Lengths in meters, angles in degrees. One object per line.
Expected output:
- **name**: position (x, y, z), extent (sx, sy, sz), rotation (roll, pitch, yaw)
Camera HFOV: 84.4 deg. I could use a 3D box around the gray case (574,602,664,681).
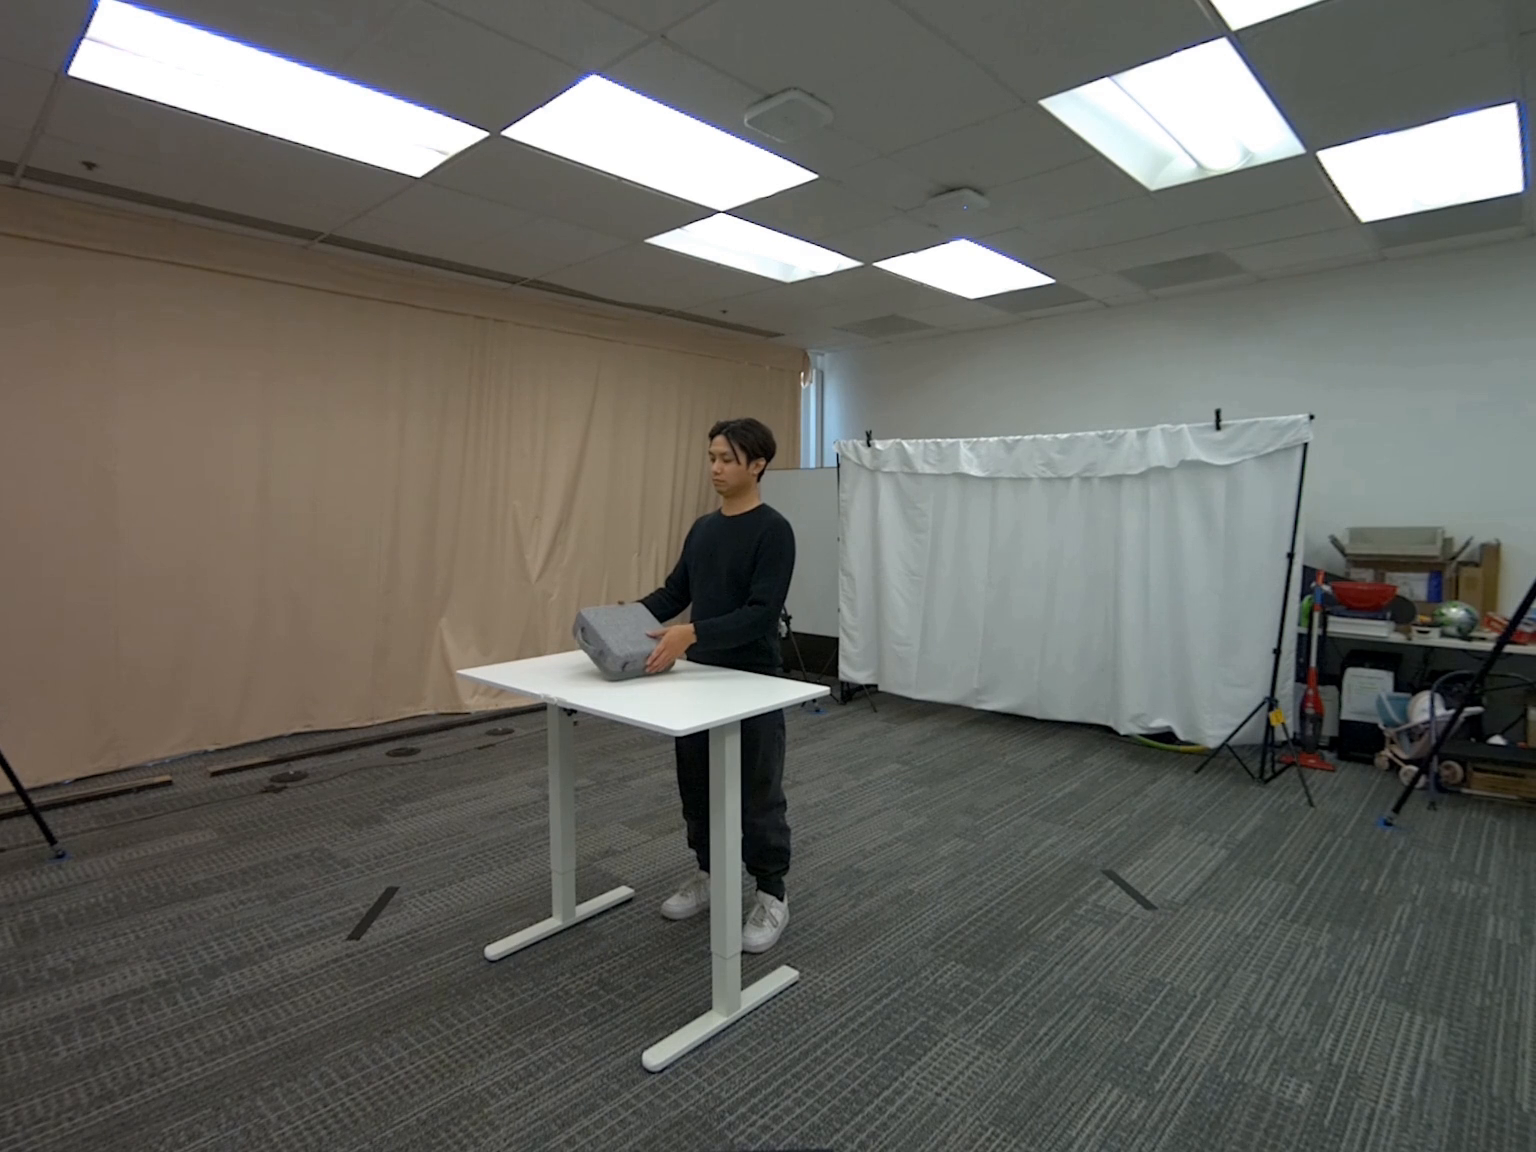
- **gray case**: position (-0.435, 0.198, 2.574), extent (0.253, 0.104, 0.266), rotation (-5, 37, -41)
